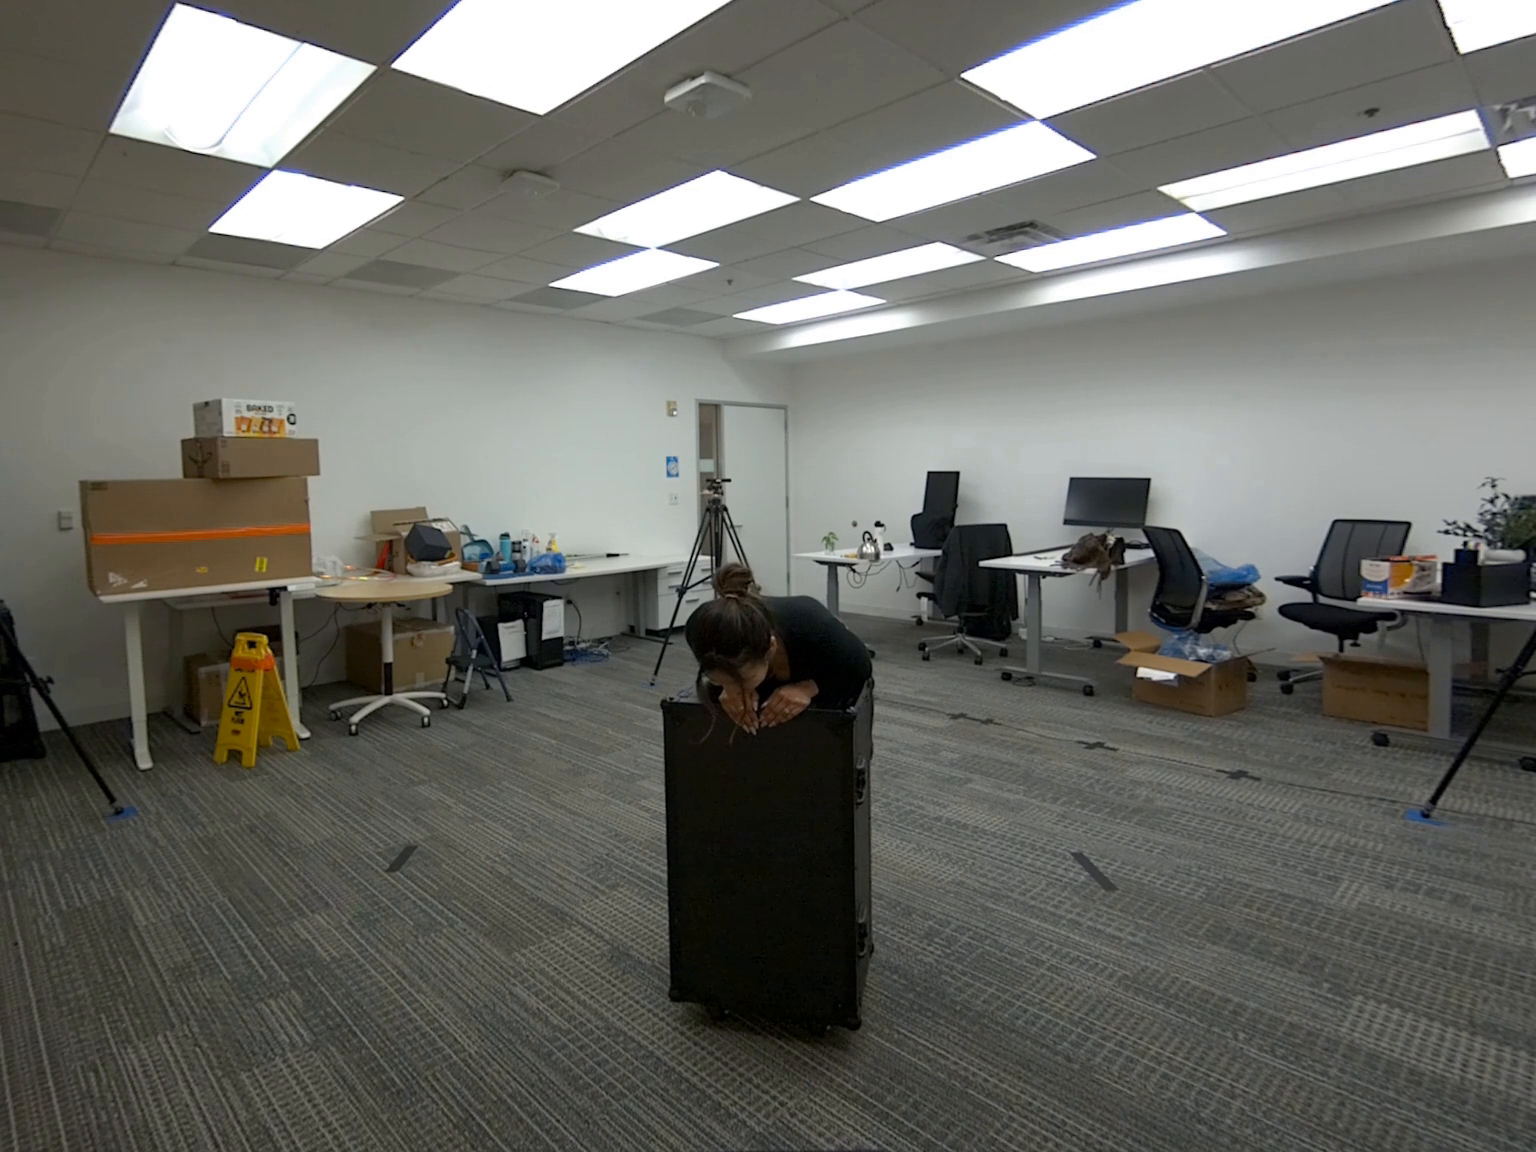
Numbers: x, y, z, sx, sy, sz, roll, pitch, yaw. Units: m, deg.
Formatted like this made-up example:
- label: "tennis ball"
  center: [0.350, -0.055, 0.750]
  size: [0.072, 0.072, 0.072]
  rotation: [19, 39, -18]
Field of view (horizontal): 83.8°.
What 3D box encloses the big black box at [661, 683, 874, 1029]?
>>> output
- label: "big black box"
  center: [0.015, 0.724, 2.275]
  size: [0.529, 0.859, 0.391]
  rotation: [-1, 3, 15]
